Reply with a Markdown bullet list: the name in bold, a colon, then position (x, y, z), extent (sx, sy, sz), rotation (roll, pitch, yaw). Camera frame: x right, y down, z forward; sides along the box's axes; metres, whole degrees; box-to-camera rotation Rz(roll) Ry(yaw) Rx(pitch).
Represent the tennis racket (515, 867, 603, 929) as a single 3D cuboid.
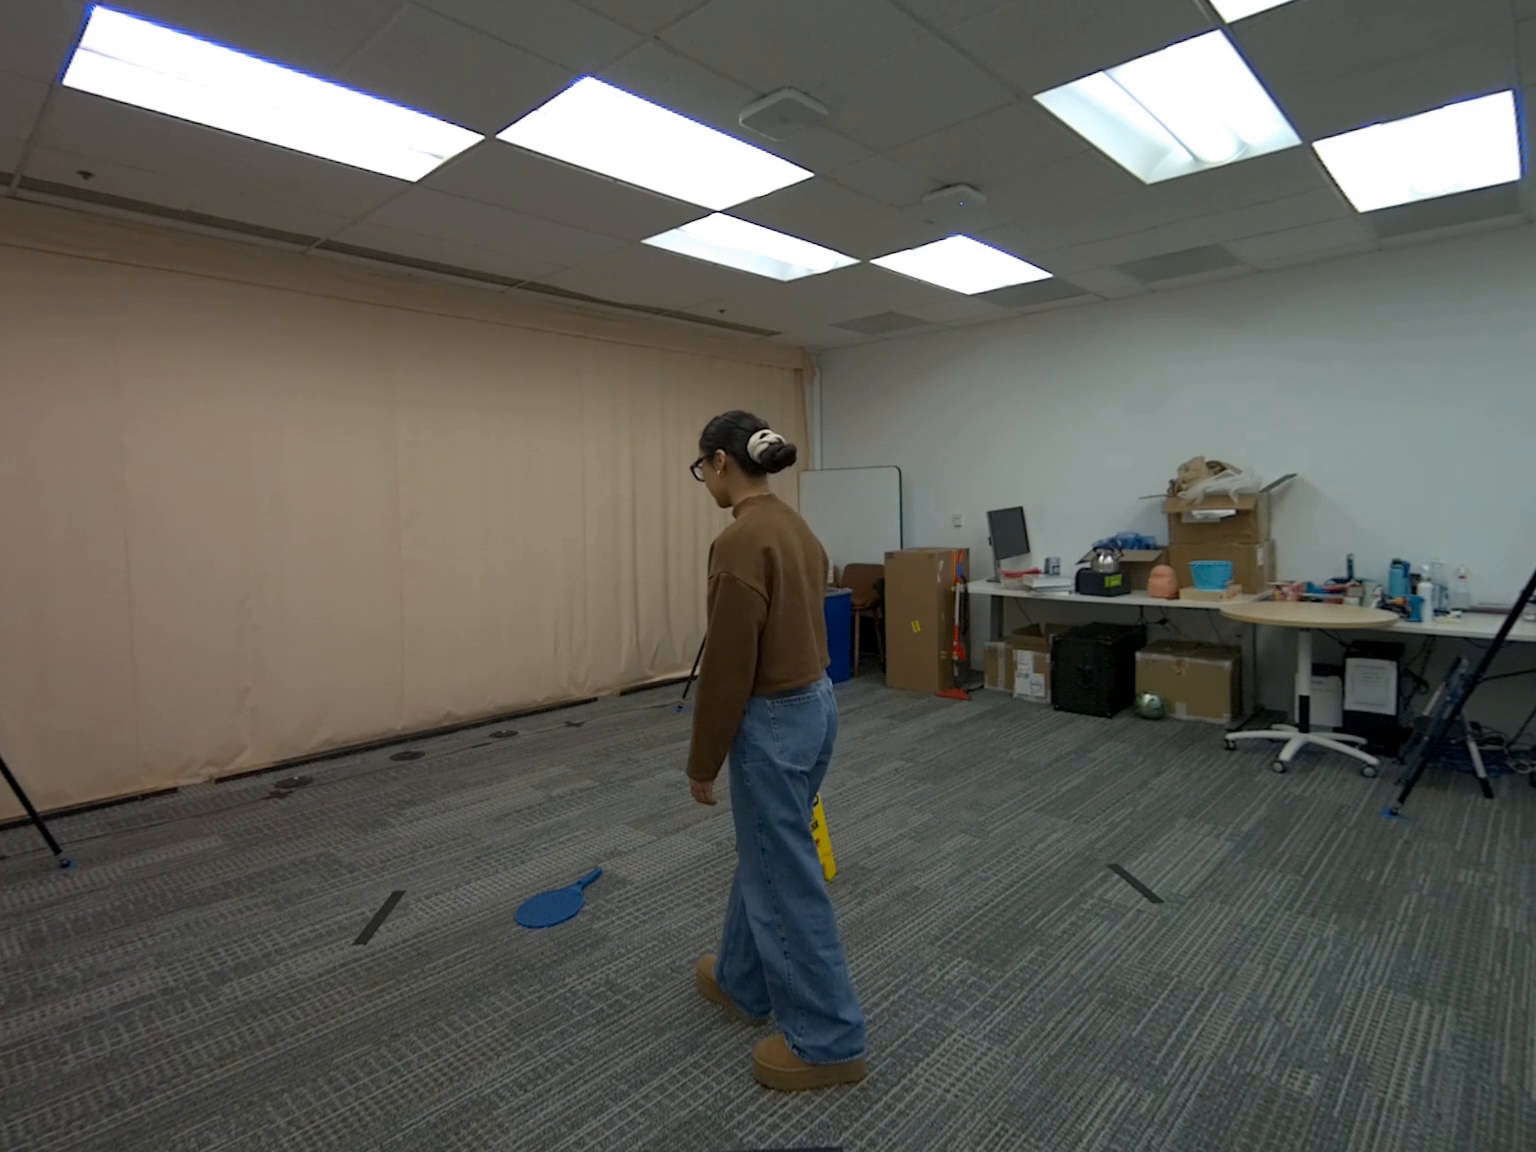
- **tennis racket**: position (-0.718, 1.142, 2.998), extent (0.219, 0.031, 0.423), rotation (2, 6, 26)
